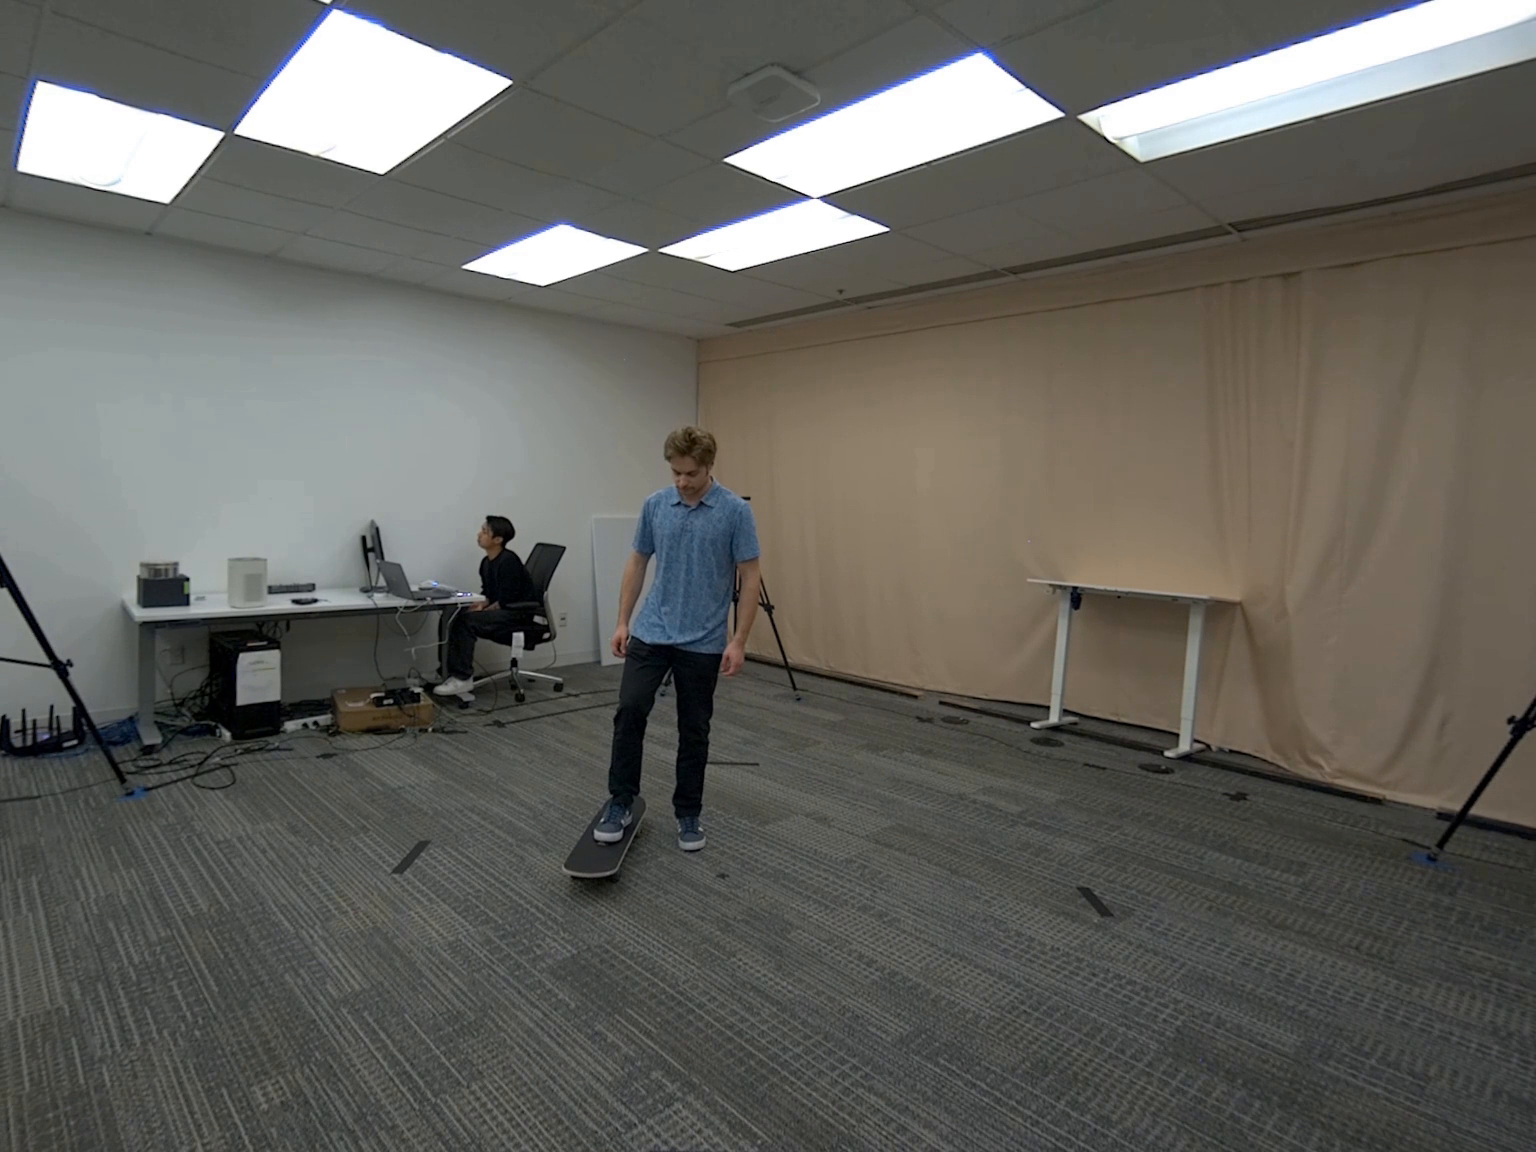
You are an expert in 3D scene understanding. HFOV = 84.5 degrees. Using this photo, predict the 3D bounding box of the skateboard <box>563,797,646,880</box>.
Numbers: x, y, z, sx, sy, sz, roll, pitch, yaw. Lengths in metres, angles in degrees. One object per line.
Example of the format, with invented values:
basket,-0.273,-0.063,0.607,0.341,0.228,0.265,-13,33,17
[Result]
skateboard,-0.618,1.022,3.240,0.194,0.110,0.786,3,5,1
